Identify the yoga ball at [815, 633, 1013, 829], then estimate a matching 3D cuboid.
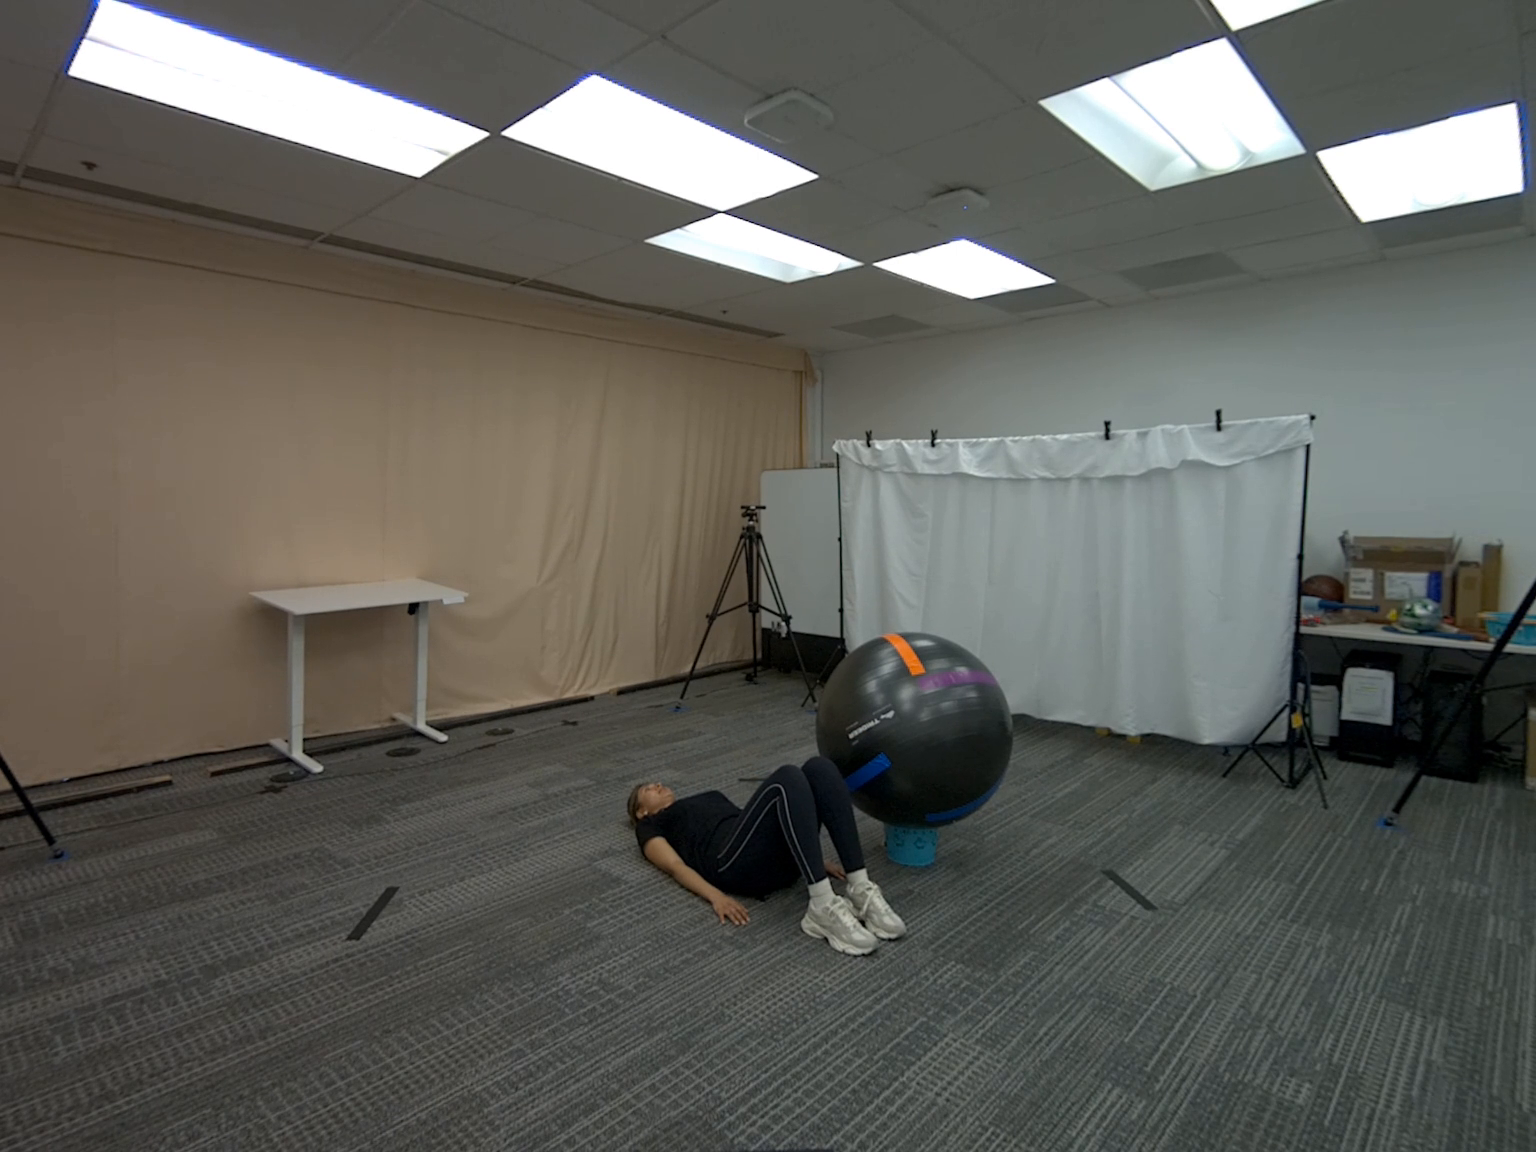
[{"bbox_3d":[0.571,0.603,3.328,0.757,0.756,0.761,3,5,-2],"label":"yoga ball"}]
